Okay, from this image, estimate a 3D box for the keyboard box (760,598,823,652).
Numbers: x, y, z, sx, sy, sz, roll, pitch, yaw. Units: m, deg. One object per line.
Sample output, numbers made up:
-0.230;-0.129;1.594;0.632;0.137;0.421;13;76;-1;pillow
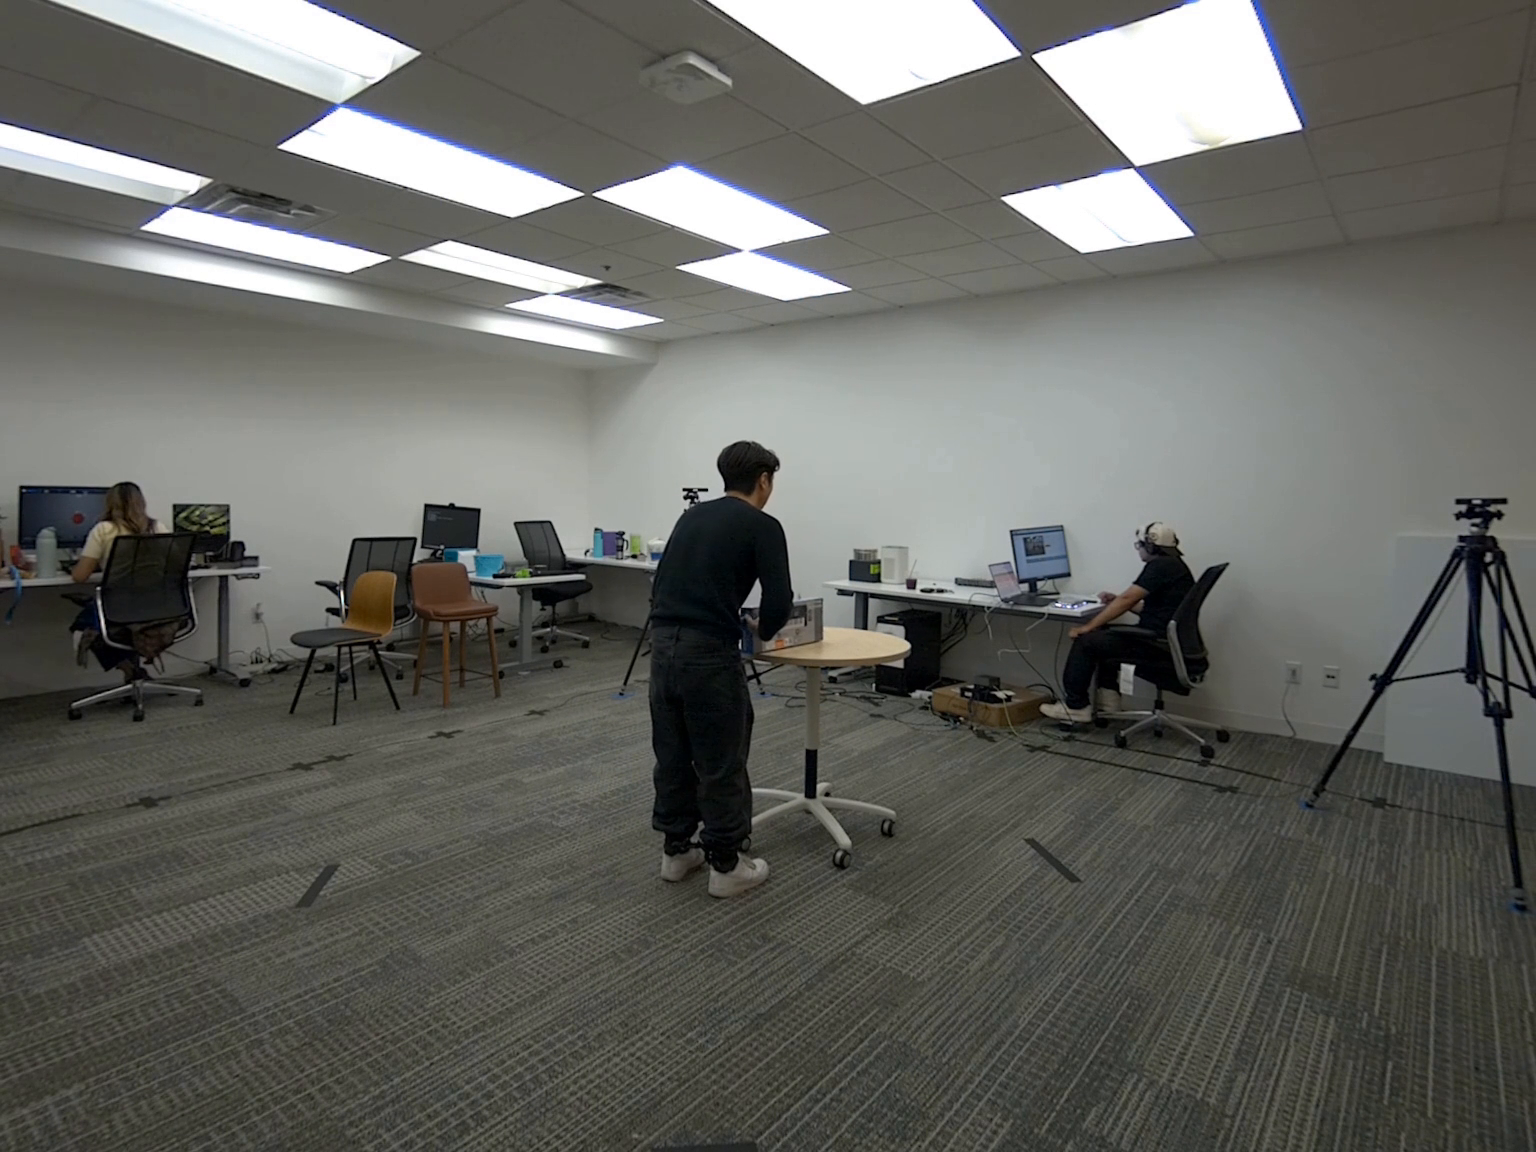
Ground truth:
0.057;0.189;3.304;0.061;0.175;0.424;0;4;42;keyboard box
